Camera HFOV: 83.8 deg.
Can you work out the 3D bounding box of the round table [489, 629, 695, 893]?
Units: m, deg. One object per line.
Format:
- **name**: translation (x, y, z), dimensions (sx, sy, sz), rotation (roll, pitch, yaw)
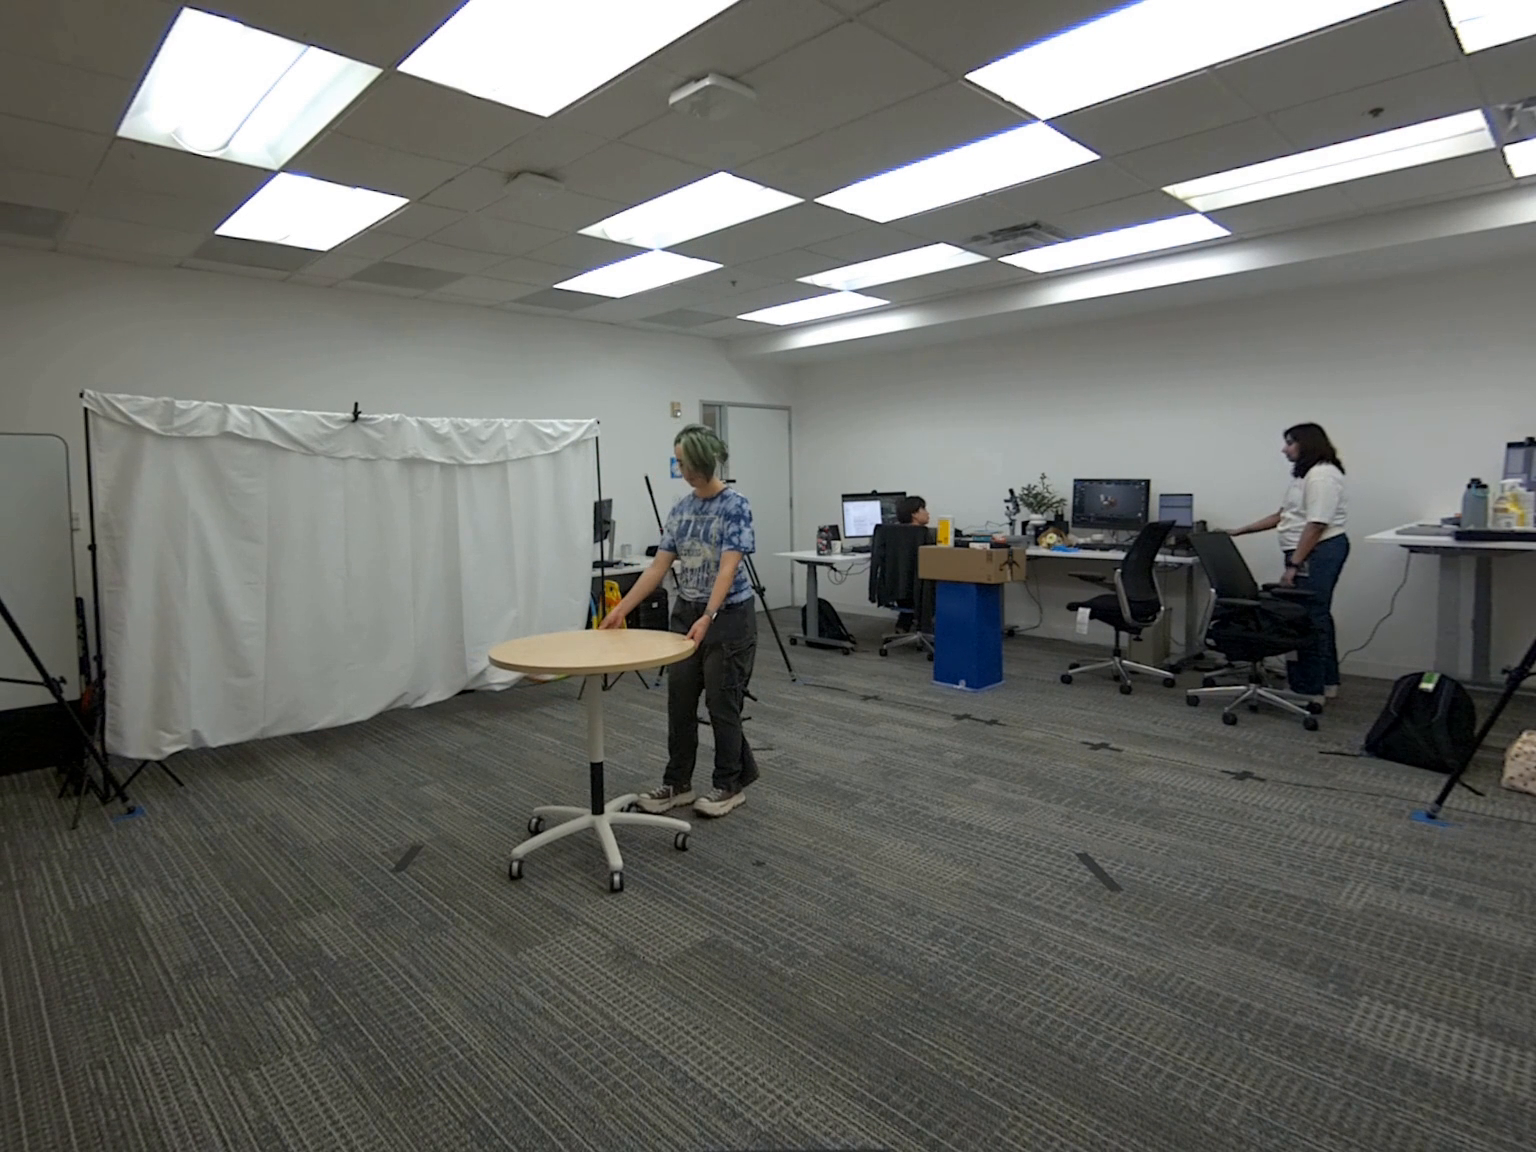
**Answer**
- **round table**: translation (-0.647, 0.656, 3.230), dimensions (0.763, 0.791, 0.767), rotation (-2, 4, -2)
